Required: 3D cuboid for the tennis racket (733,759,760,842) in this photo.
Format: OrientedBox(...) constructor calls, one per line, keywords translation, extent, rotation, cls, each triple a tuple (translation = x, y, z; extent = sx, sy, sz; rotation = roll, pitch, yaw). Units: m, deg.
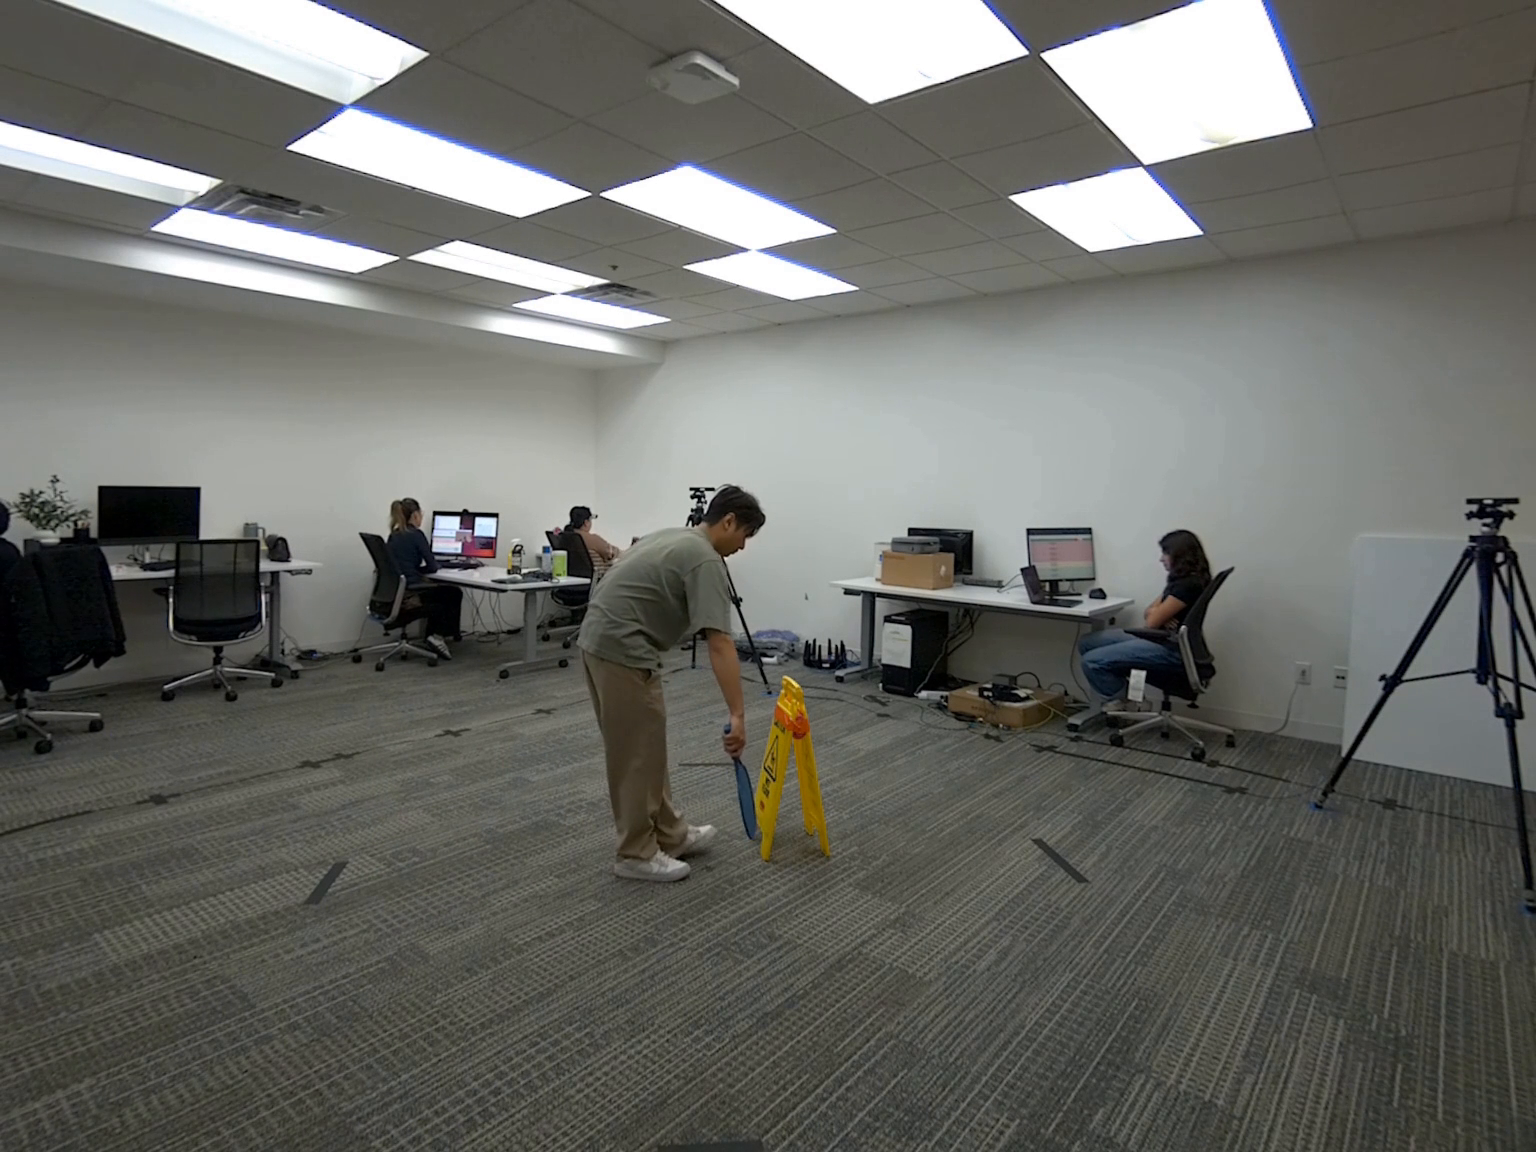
OrientedBox(translation=(-0.095, 0.689, 2.868), extent=(0.032, 0.425, 0.216), rotation=(-10, 17, 7), cls="tennis racket")
